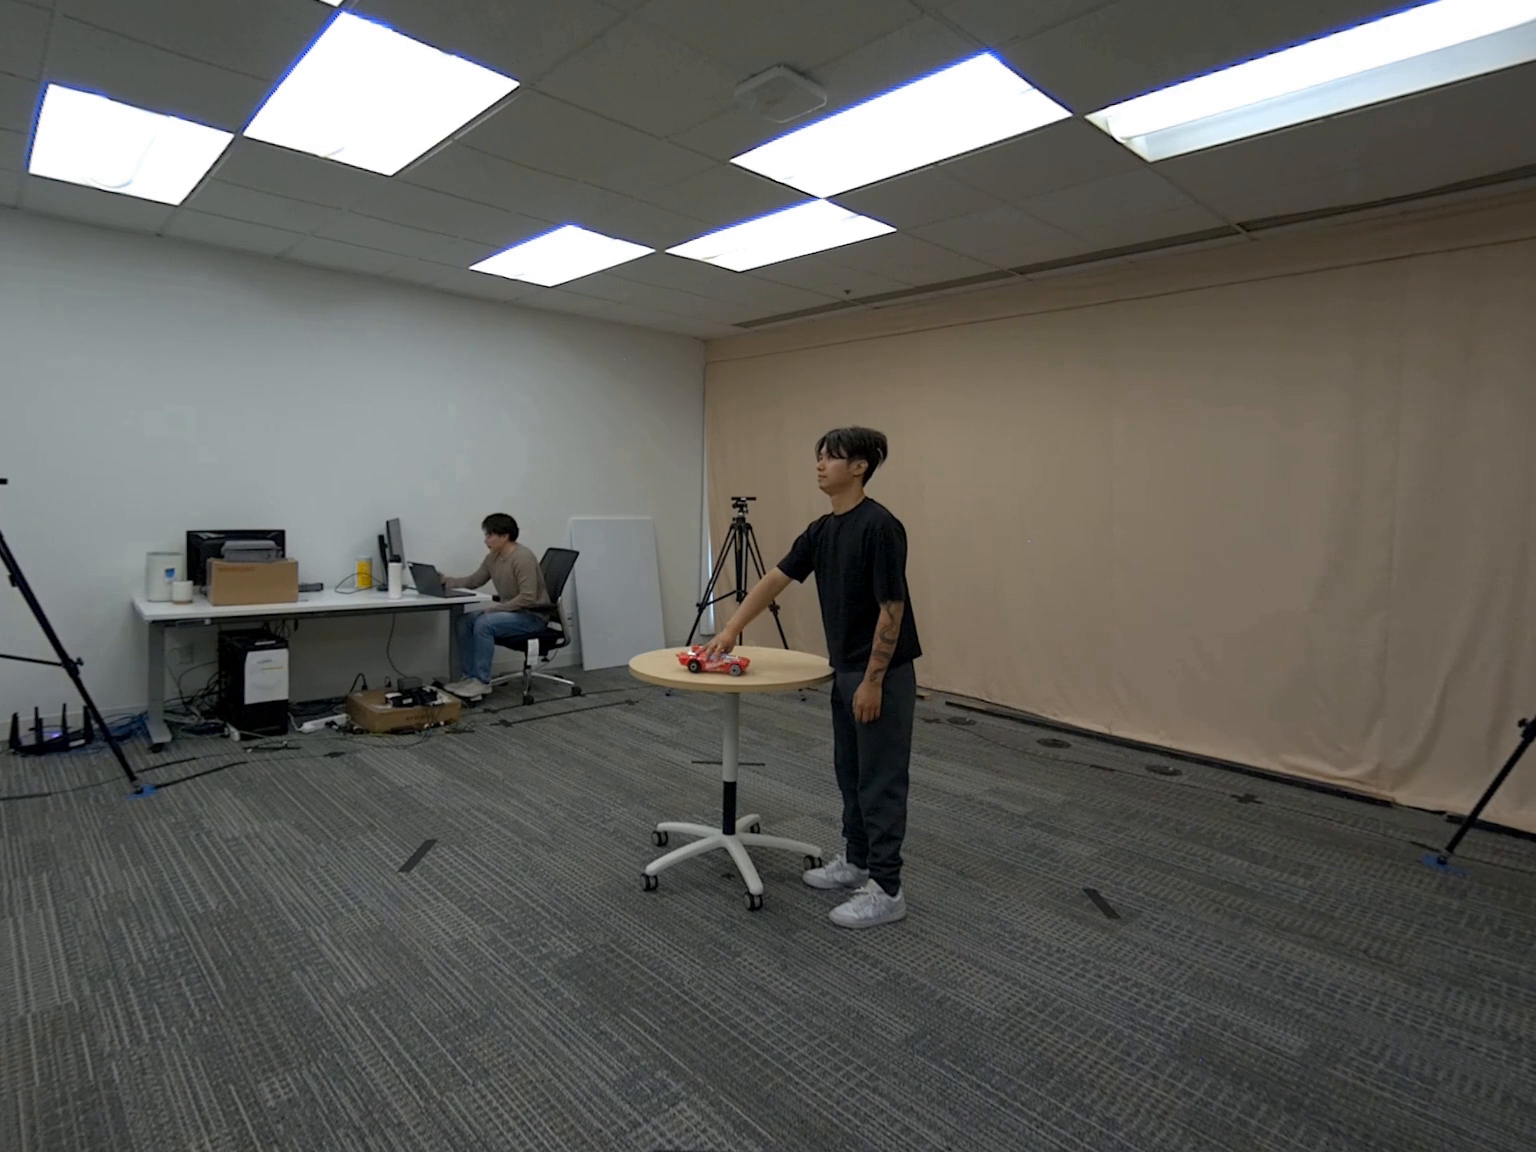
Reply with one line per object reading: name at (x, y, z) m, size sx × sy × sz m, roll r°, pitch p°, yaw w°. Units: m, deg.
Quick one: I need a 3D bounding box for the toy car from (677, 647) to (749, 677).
toy car at (-0.196, 0.303, 2.948) m, size 0.257 × 0.083 × 0.129 m, roll 14°, pitch 6°, yaw 11°
